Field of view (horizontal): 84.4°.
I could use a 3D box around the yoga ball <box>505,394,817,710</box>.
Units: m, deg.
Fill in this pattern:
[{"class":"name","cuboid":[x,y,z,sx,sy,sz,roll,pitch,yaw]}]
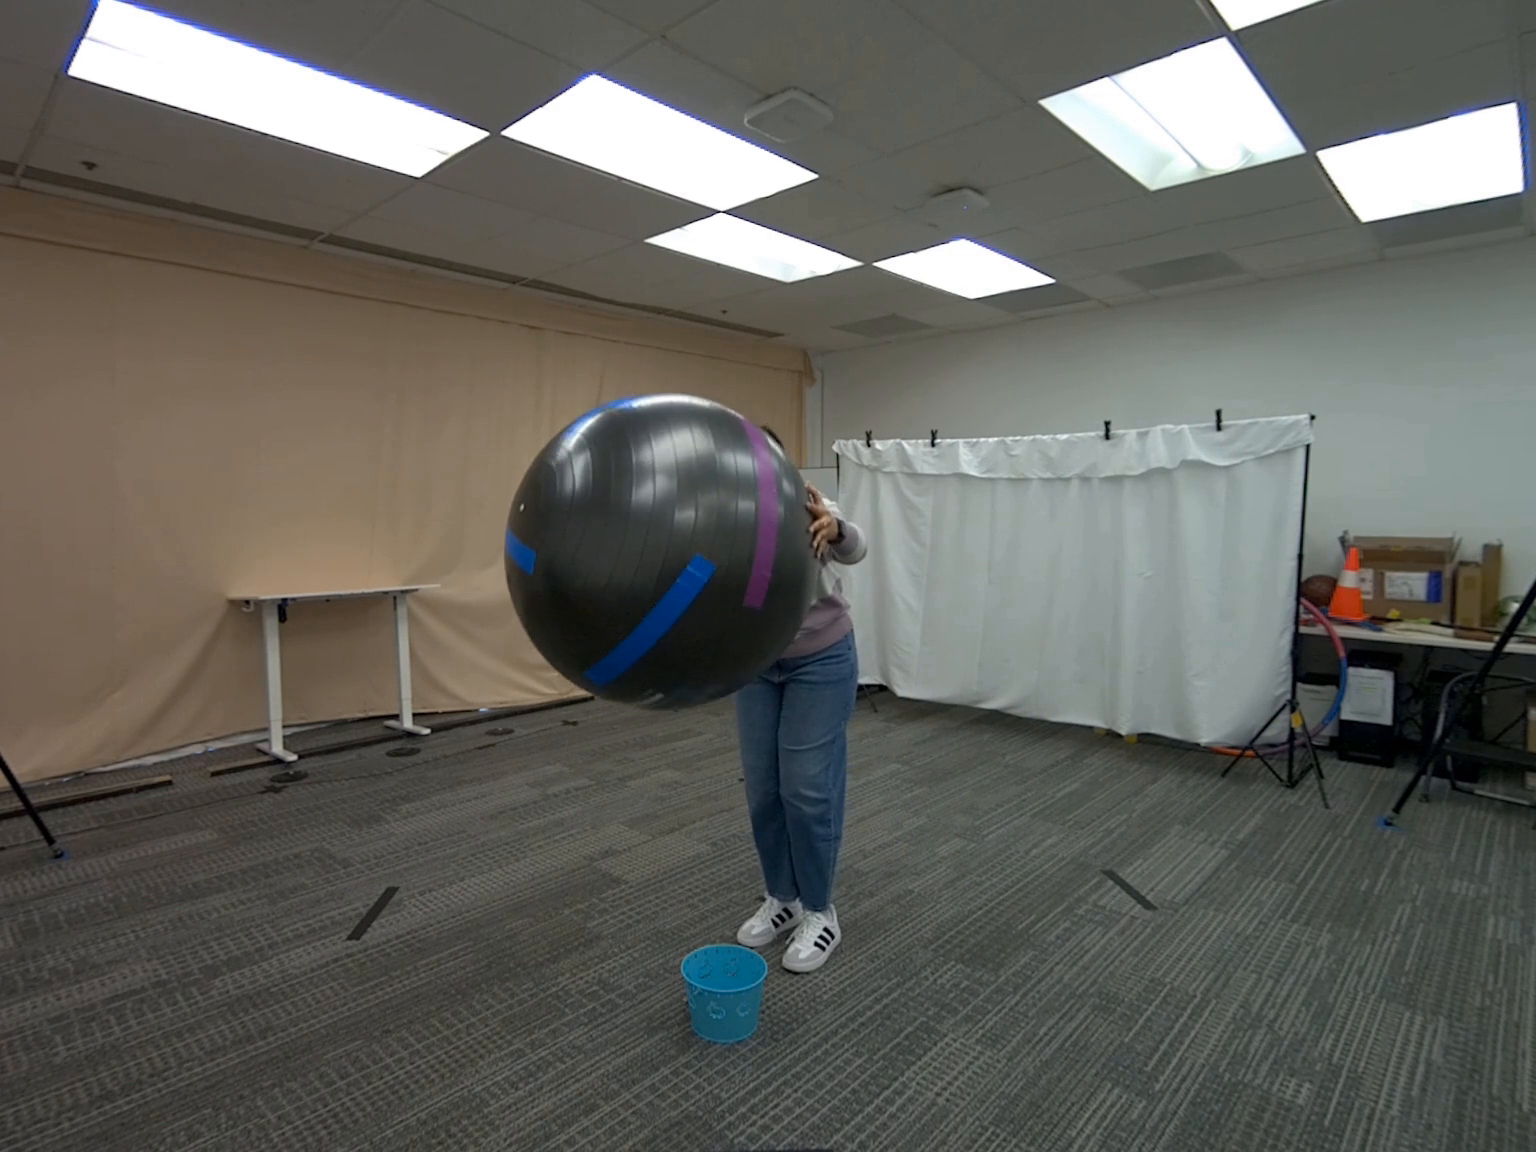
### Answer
[{"class":"yoga ball","cuboid":[-0.258,-0.054,2.040,0.757,0.756,0.761,0,4,-2]}]
